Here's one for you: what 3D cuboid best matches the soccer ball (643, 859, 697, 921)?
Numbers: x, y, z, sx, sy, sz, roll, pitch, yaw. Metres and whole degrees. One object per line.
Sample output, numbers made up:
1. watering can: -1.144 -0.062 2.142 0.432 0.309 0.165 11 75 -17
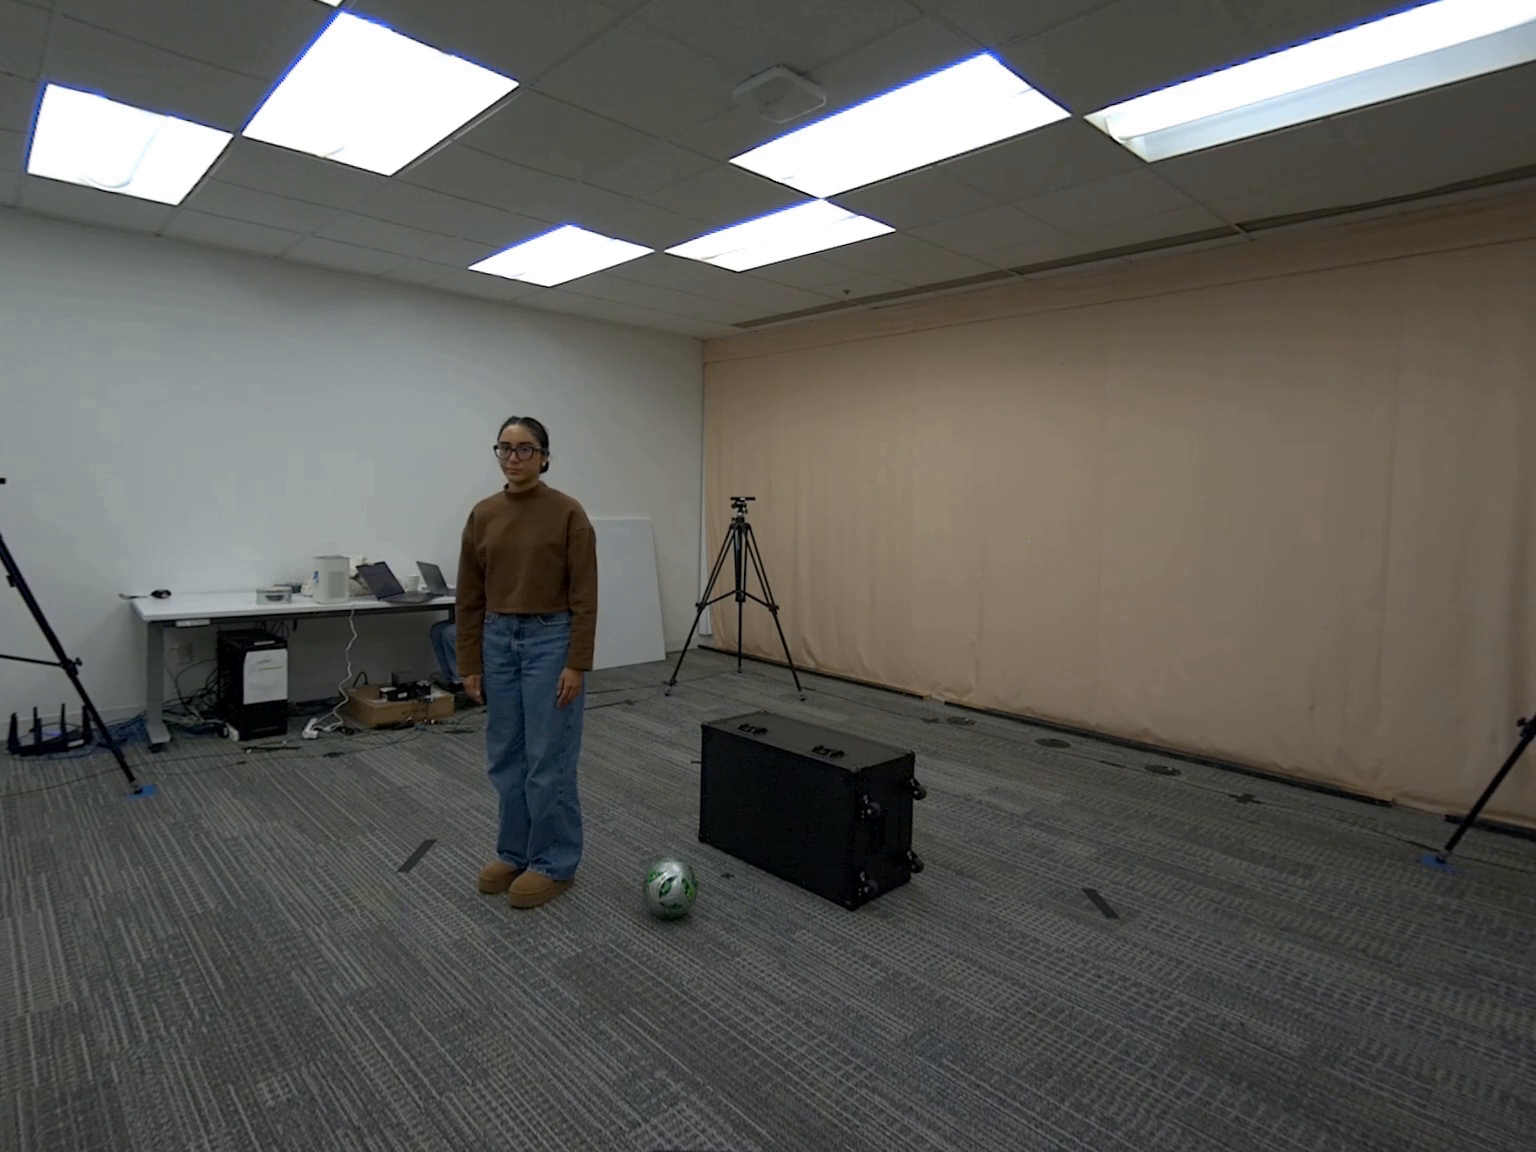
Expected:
1. soccer ball: -0.335 1.036 2.785 0.187 0.187 0.188 1 4 -1
